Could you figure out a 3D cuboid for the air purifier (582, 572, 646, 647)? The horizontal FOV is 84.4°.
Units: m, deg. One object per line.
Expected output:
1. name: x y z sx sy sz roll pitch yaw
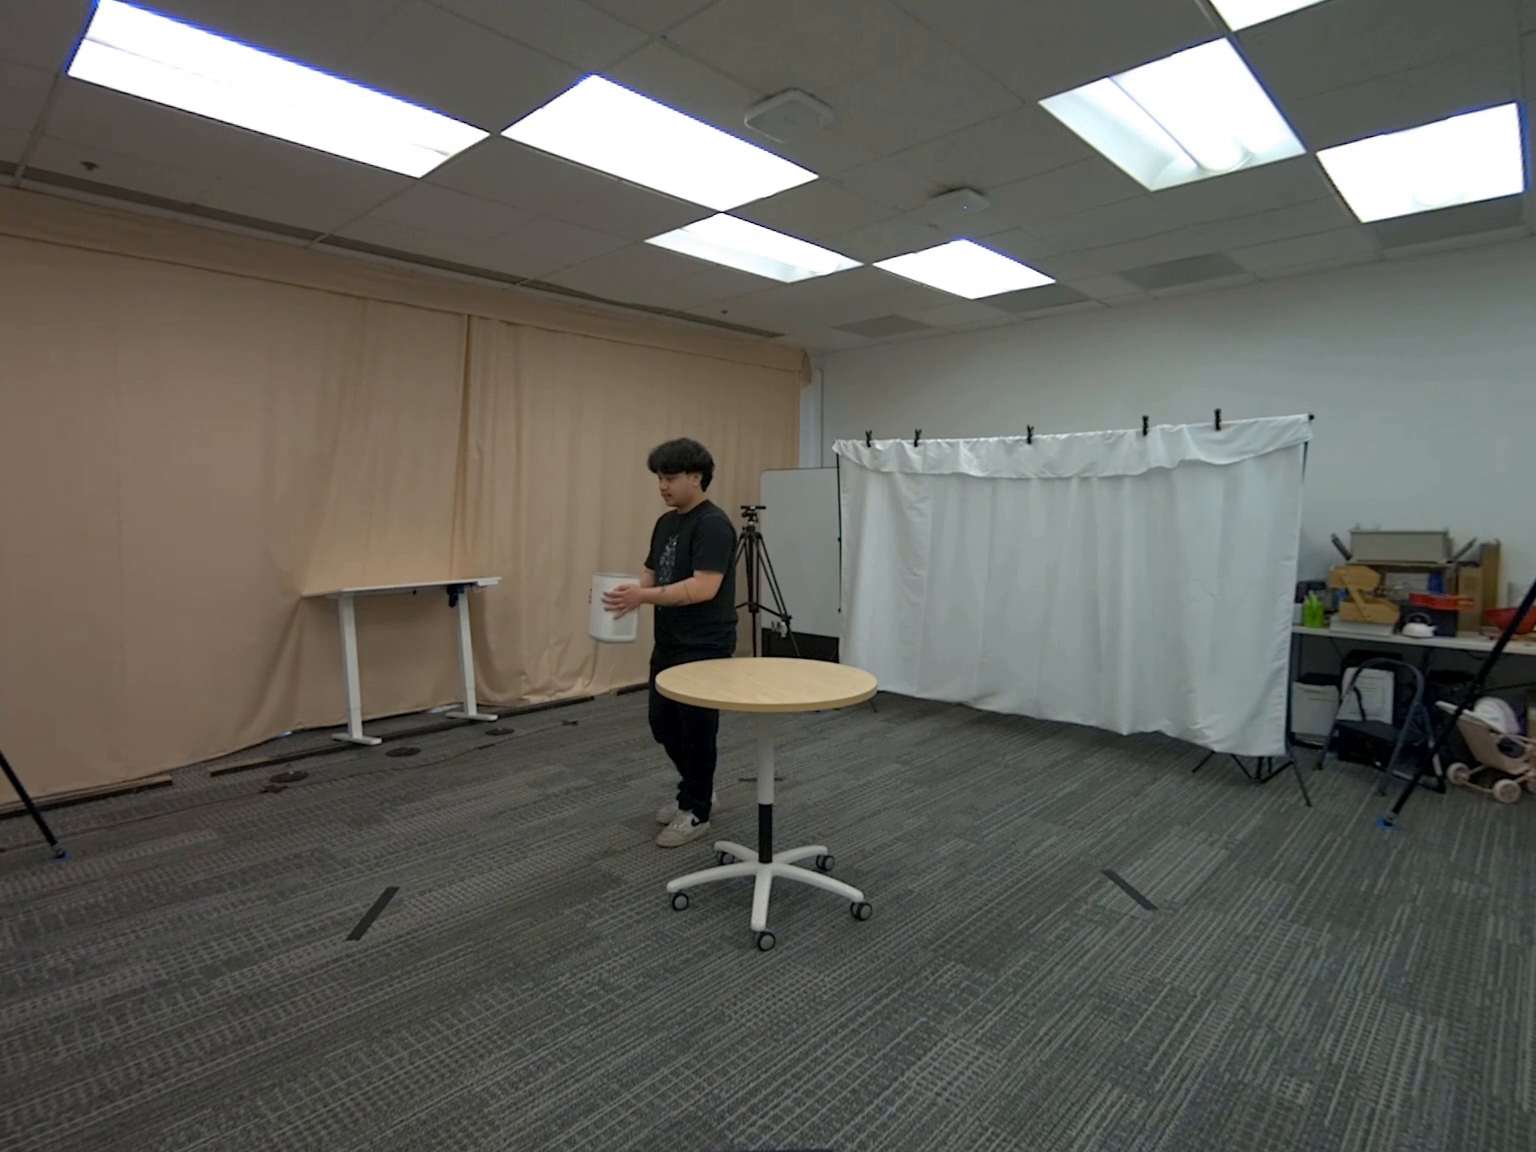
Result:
1. air purifier: -0.604 0.129 3.340 0.166 0.266 0.176 7 -3 -38
